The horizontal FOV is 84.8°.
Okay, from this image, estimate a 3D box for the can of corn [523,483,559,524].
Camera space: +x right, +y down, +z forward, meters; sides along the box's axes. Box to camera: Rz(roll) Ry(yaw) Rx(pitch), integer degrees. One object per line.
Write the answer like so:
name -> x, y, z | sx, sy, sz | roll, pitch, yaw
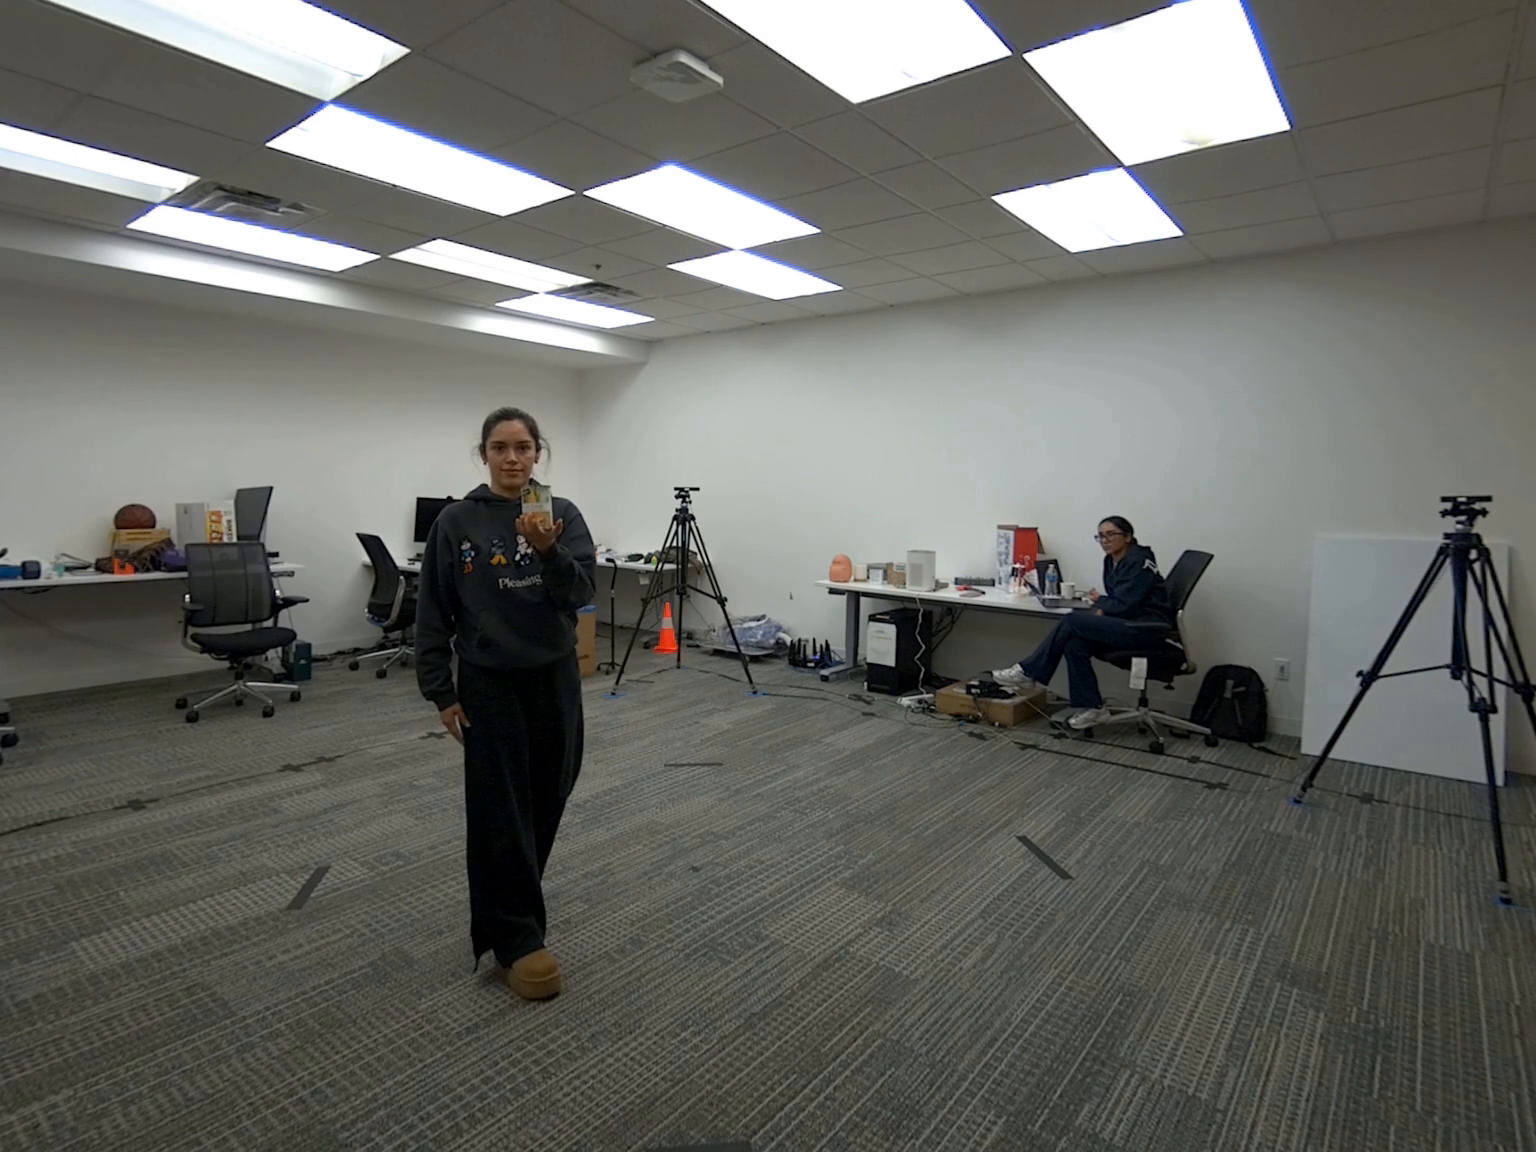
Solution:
can of corn -> -0.586, -0.180, 2.186 | 0.074, 0.111, 0.074 | -7, -1, -2
